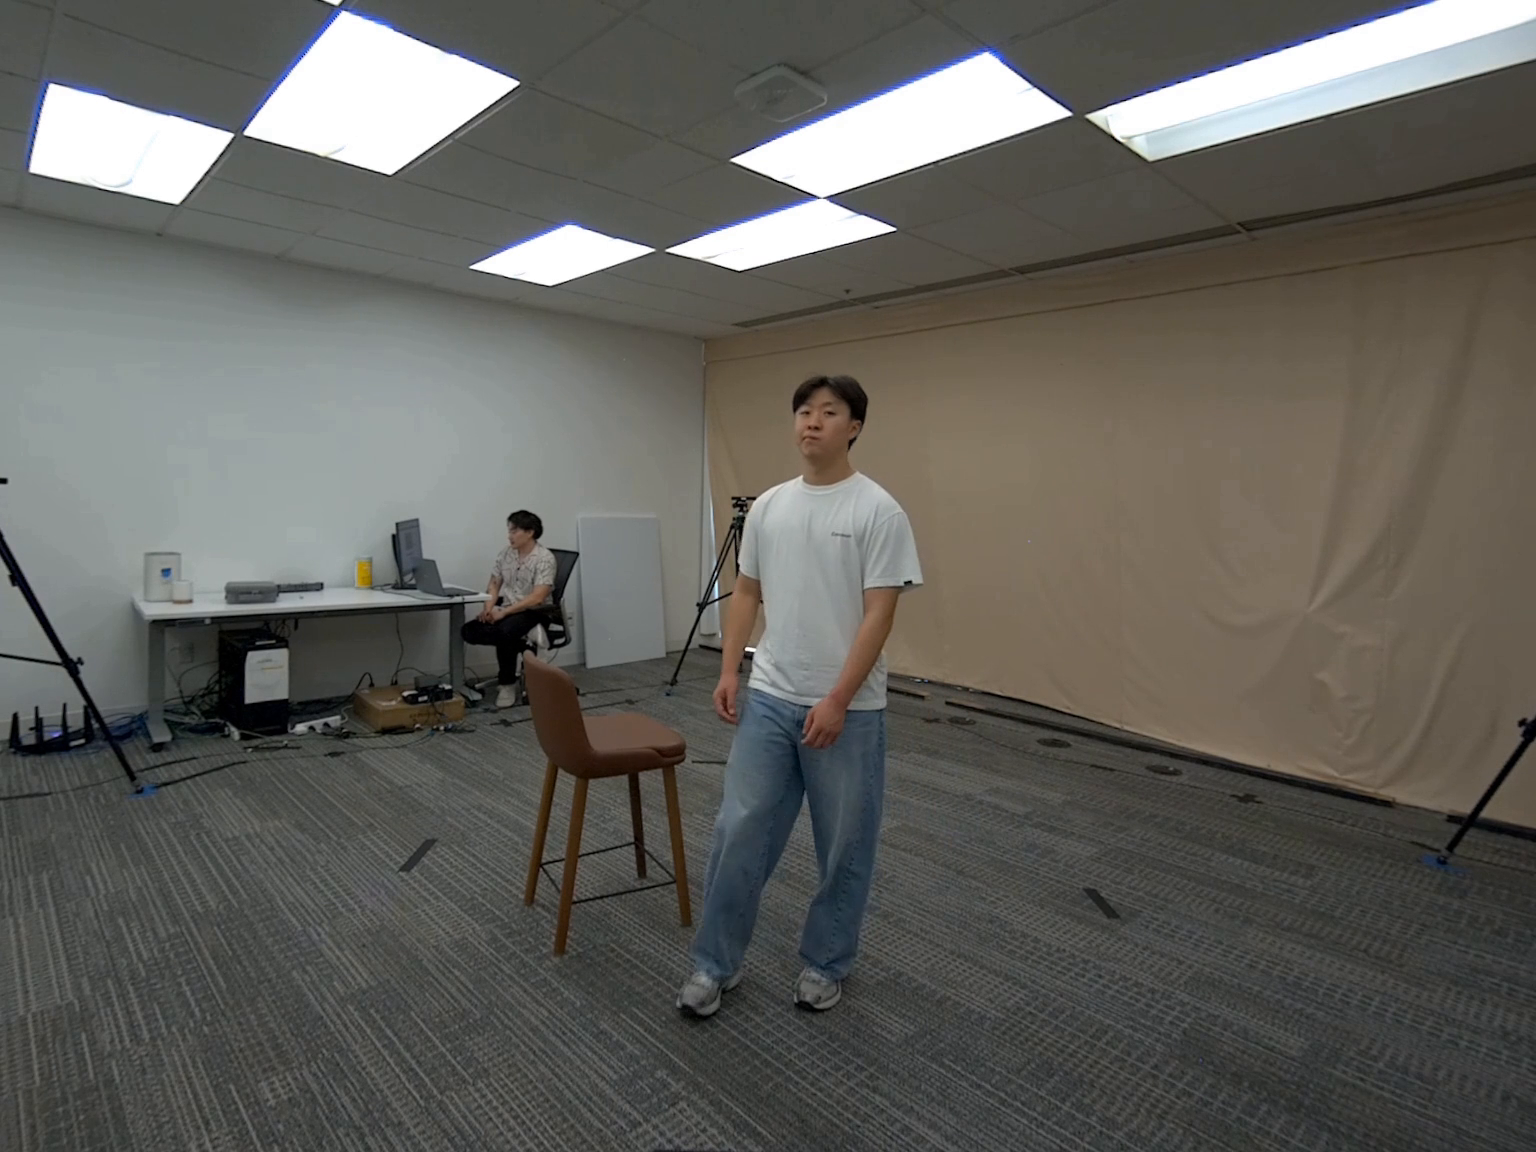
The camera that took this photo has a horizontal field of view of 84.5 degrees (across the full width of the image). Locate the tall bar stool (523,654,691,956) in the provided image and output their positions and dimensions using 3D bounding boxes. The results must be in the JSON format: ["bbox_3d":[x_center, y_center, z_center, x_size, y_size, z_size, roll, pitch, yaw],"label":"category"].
[{"bbox_3d":[-0.542,0.690,2.778,0.458,0.887,0.467,-3,5,-30],"label":"tall bar stool"}]
